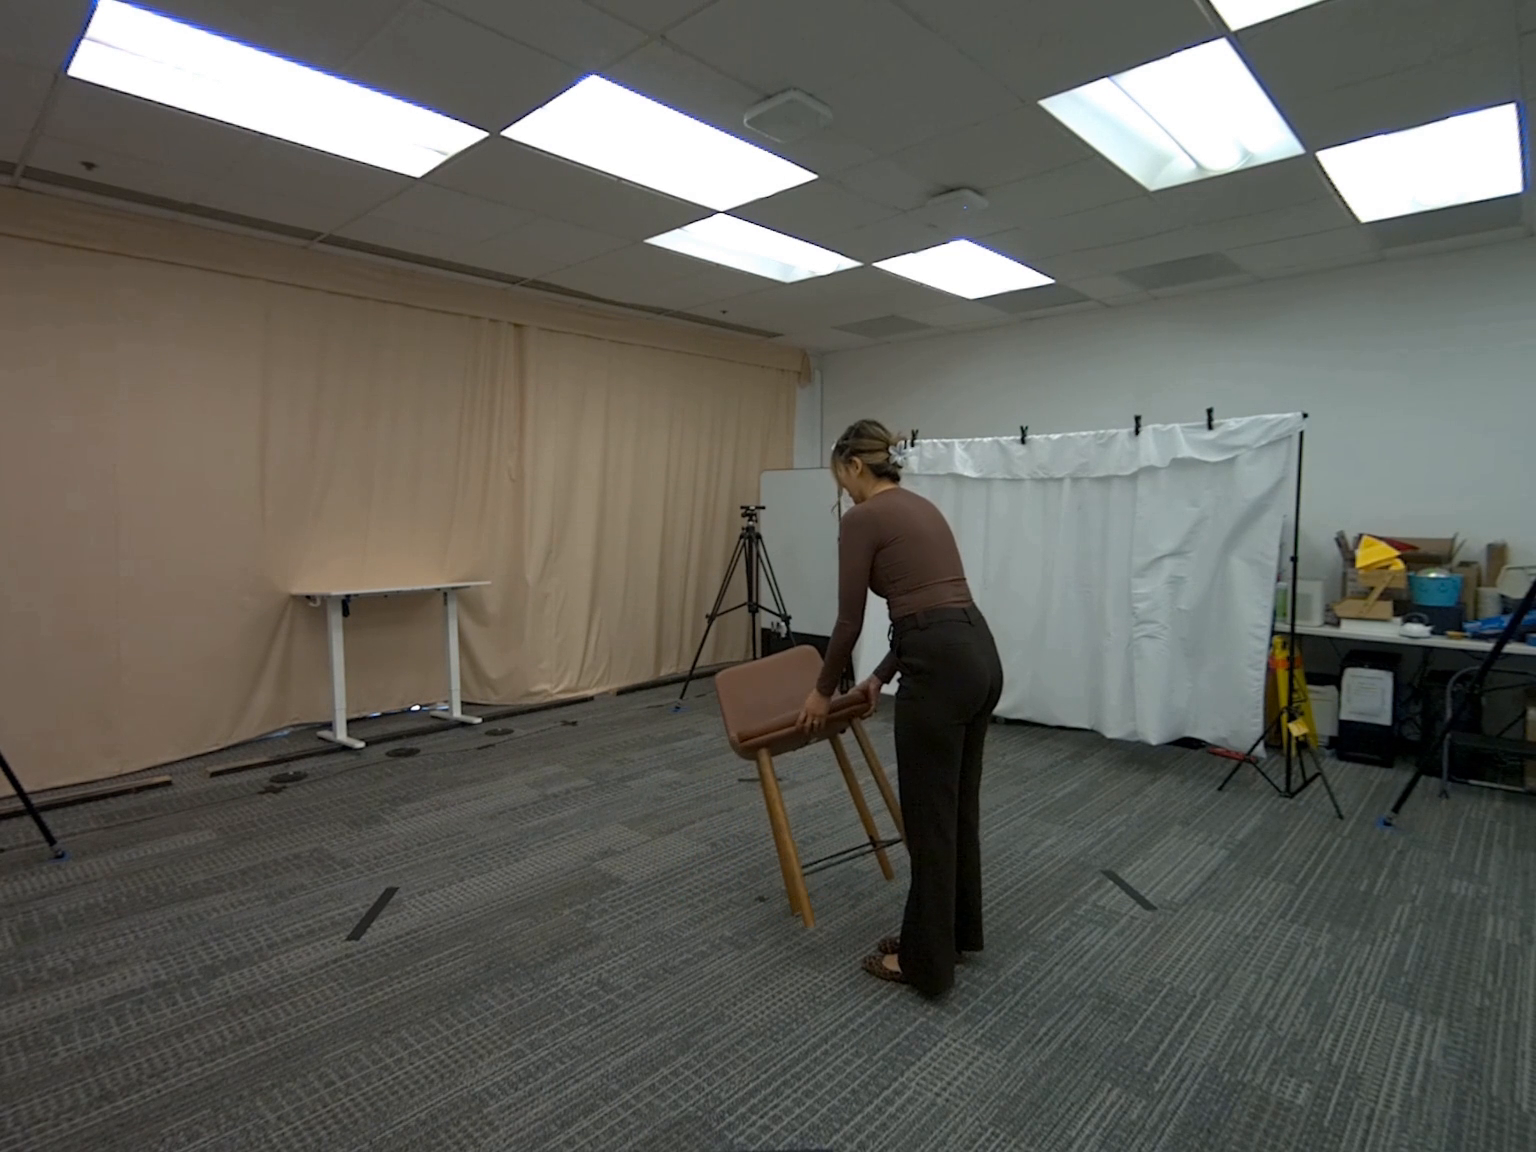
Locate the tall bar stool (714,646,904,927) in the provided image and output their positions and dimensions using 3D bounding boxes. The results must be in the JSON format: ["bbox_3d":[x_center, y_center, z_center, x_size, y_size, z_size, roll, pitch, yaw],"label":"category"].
[{"bbox_3d":[0.147,0.650,2.825,0.453,0.905,0.463,-16,-18,-9],"label":"tall bar stool"}]
